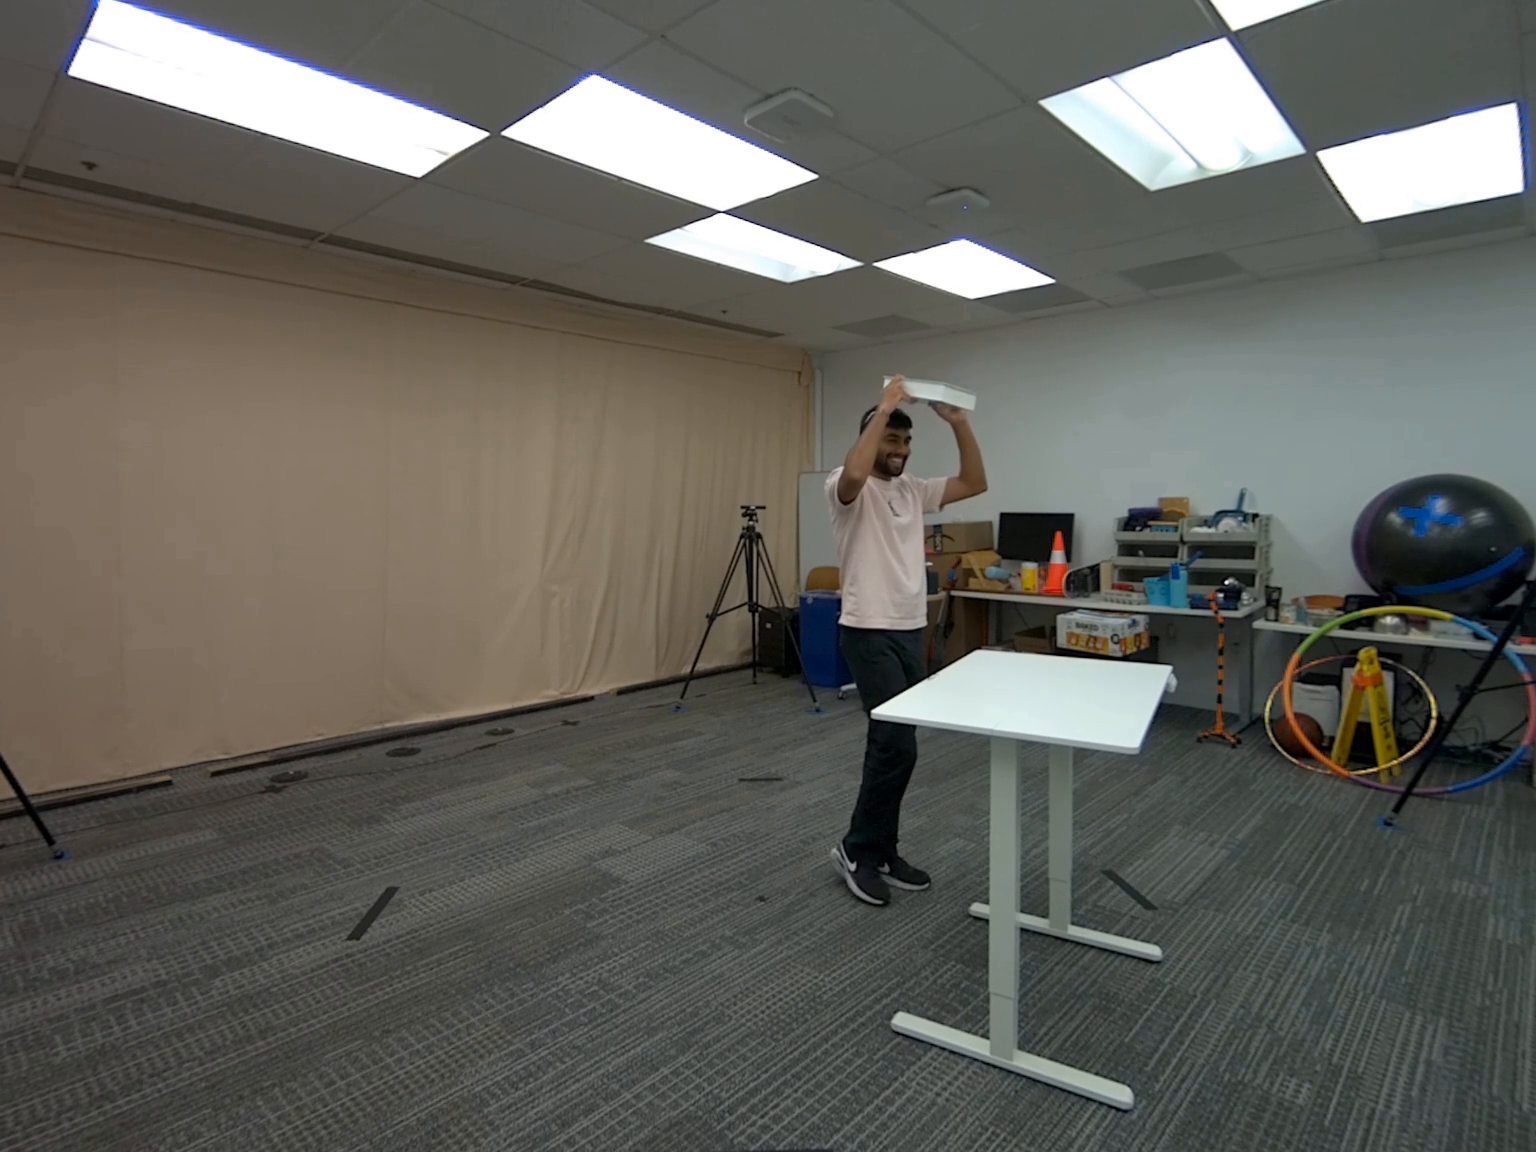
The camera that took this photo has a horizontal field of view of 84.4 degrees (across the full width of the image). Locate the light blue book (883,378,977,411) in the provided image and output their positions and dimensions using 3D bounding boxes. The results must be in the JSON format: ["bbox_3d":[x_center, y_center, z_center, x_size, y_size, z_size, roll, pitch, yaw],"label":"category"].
[{"bbox_3d":[0.552,-0.619,2.888,0.185,0.059,0.270,5,11,-40],"label":"light blue book"}]
